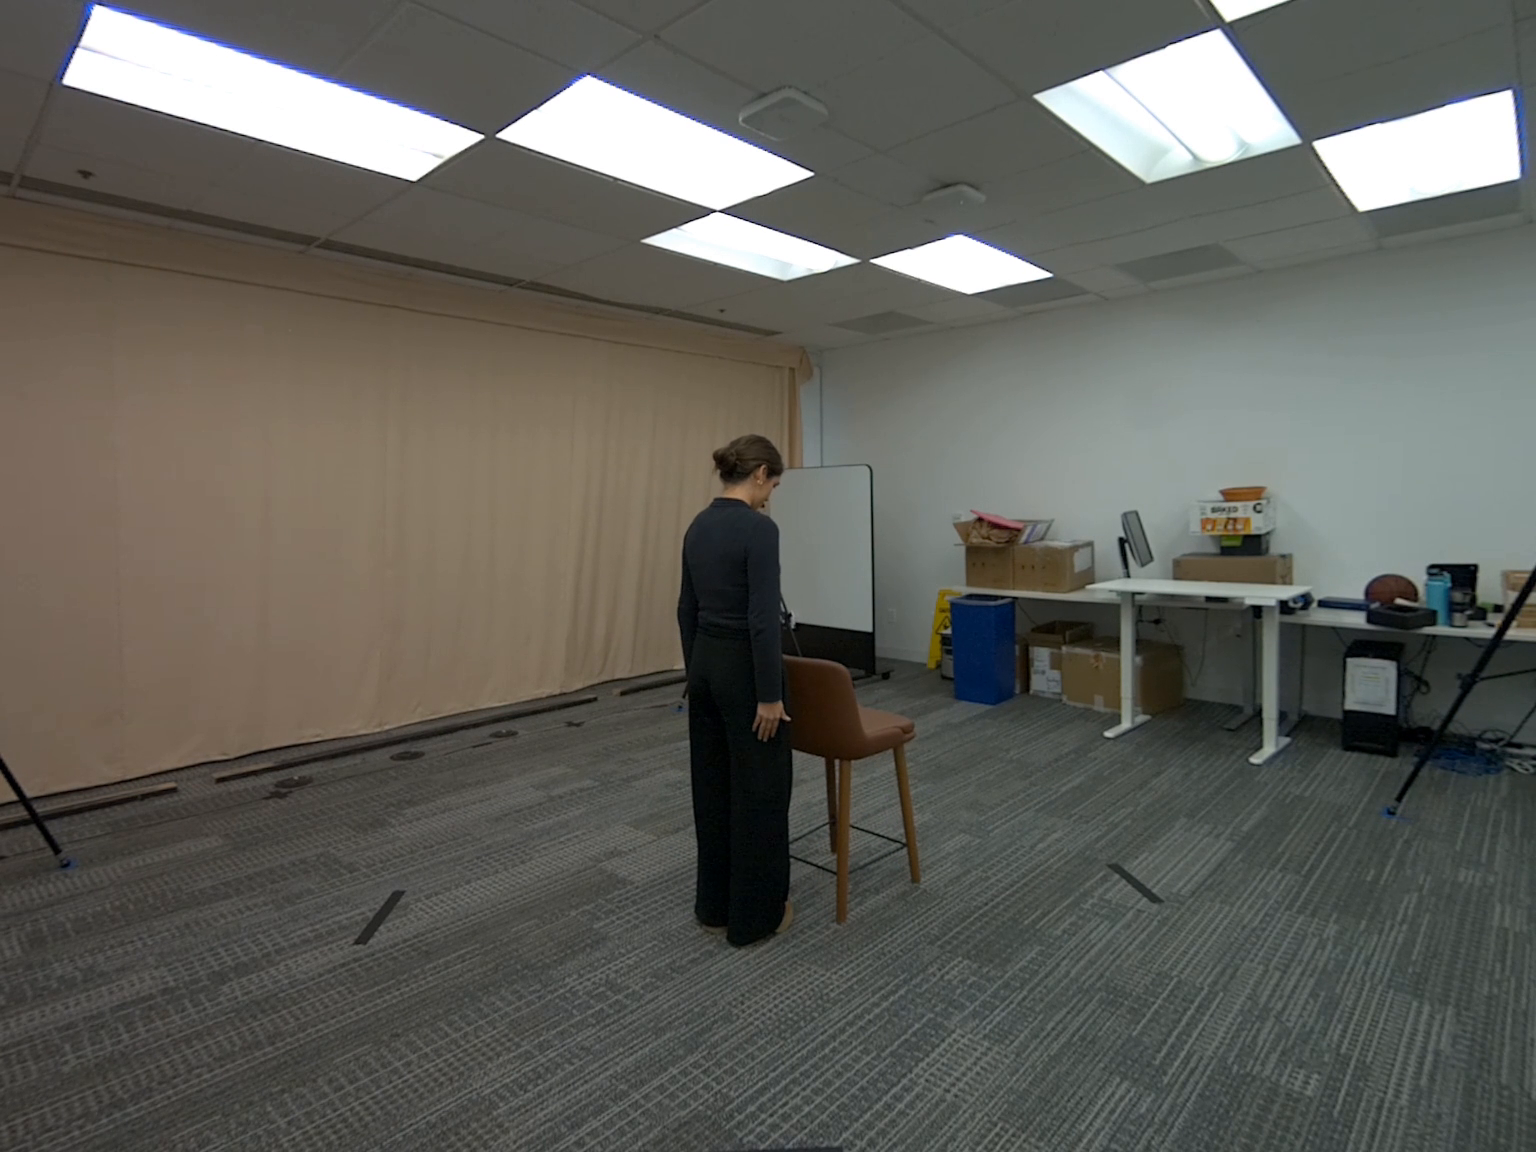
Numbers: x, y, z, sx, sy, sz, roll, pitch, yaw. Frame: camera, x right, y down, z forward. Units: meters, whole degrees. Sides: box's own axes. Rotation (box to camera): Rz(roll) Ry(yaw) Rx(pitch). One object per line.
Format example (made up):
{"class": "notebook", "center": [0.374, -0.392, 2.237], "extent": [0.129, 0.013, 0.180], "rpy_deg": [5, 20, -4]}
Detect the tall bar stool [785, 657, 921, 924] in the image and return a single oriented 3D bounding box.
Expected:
{"class": "tall bar stool", "center": [0.247, 0.690, 3.043], "extent": [0.472, 0.887, 0.454], "rpy_deg": [2, 7, 45]}
